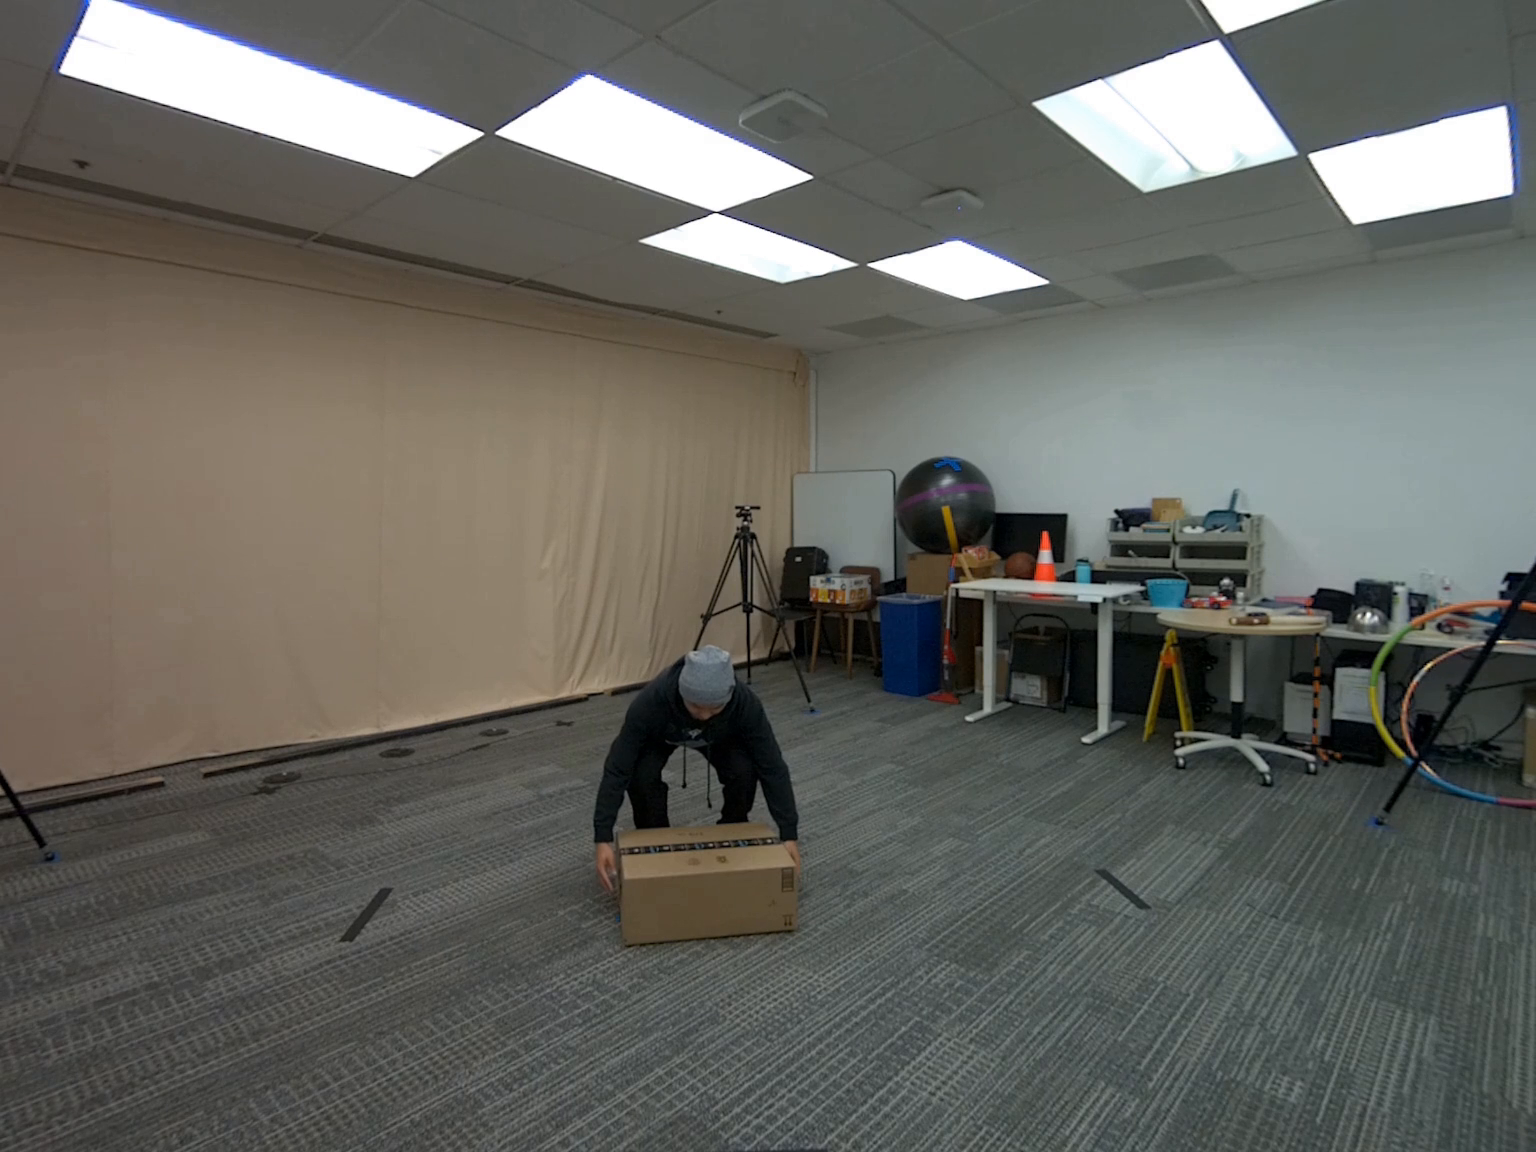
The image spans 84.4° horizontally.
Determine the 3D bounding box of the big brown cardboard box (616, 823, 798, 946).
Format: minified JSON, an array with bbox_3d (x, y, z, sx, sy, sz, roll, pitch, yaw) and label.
[{"bbox_3d":[-0.225,1.043,2.896,0.582,0.233,0.423,-2,4,-11],"label":"big brown cardboard box"}]
